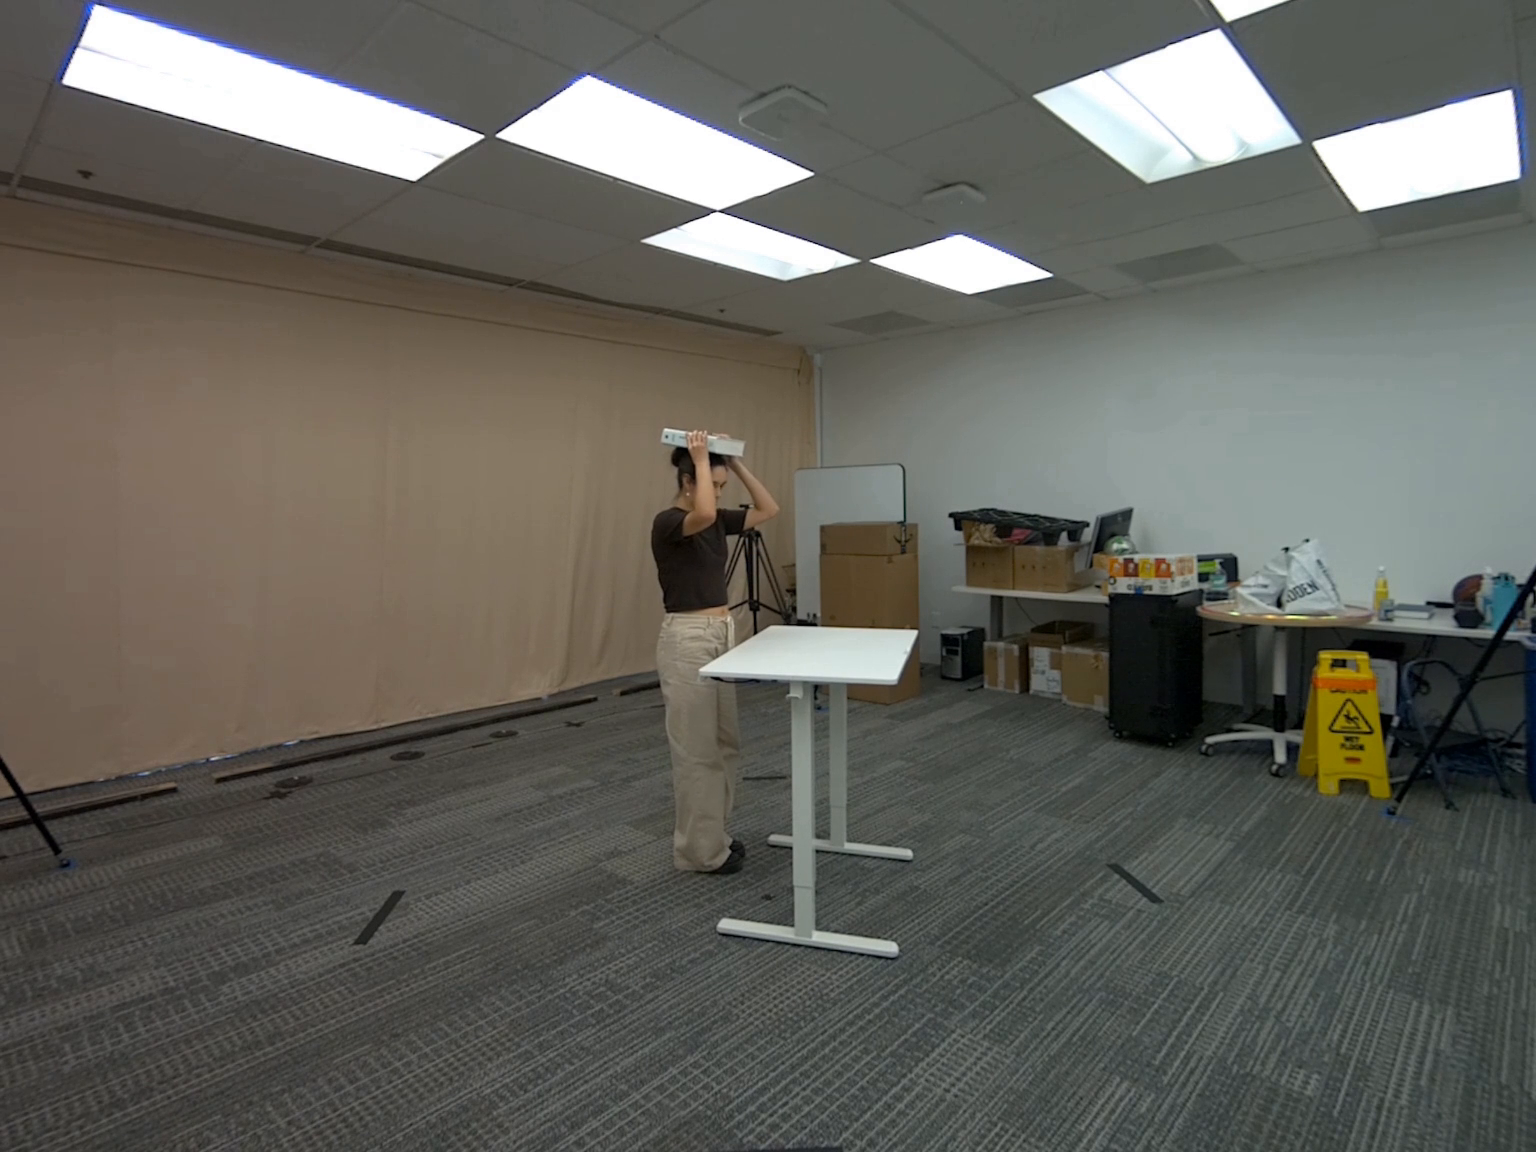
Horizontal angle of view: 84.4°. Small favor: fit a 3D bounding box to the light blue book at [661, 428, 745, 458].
[{"bbox_3d":[-0.247,-0.512,3.217,0.270,0.059,0.186,15,9,33],"label":"light blue book"}]
